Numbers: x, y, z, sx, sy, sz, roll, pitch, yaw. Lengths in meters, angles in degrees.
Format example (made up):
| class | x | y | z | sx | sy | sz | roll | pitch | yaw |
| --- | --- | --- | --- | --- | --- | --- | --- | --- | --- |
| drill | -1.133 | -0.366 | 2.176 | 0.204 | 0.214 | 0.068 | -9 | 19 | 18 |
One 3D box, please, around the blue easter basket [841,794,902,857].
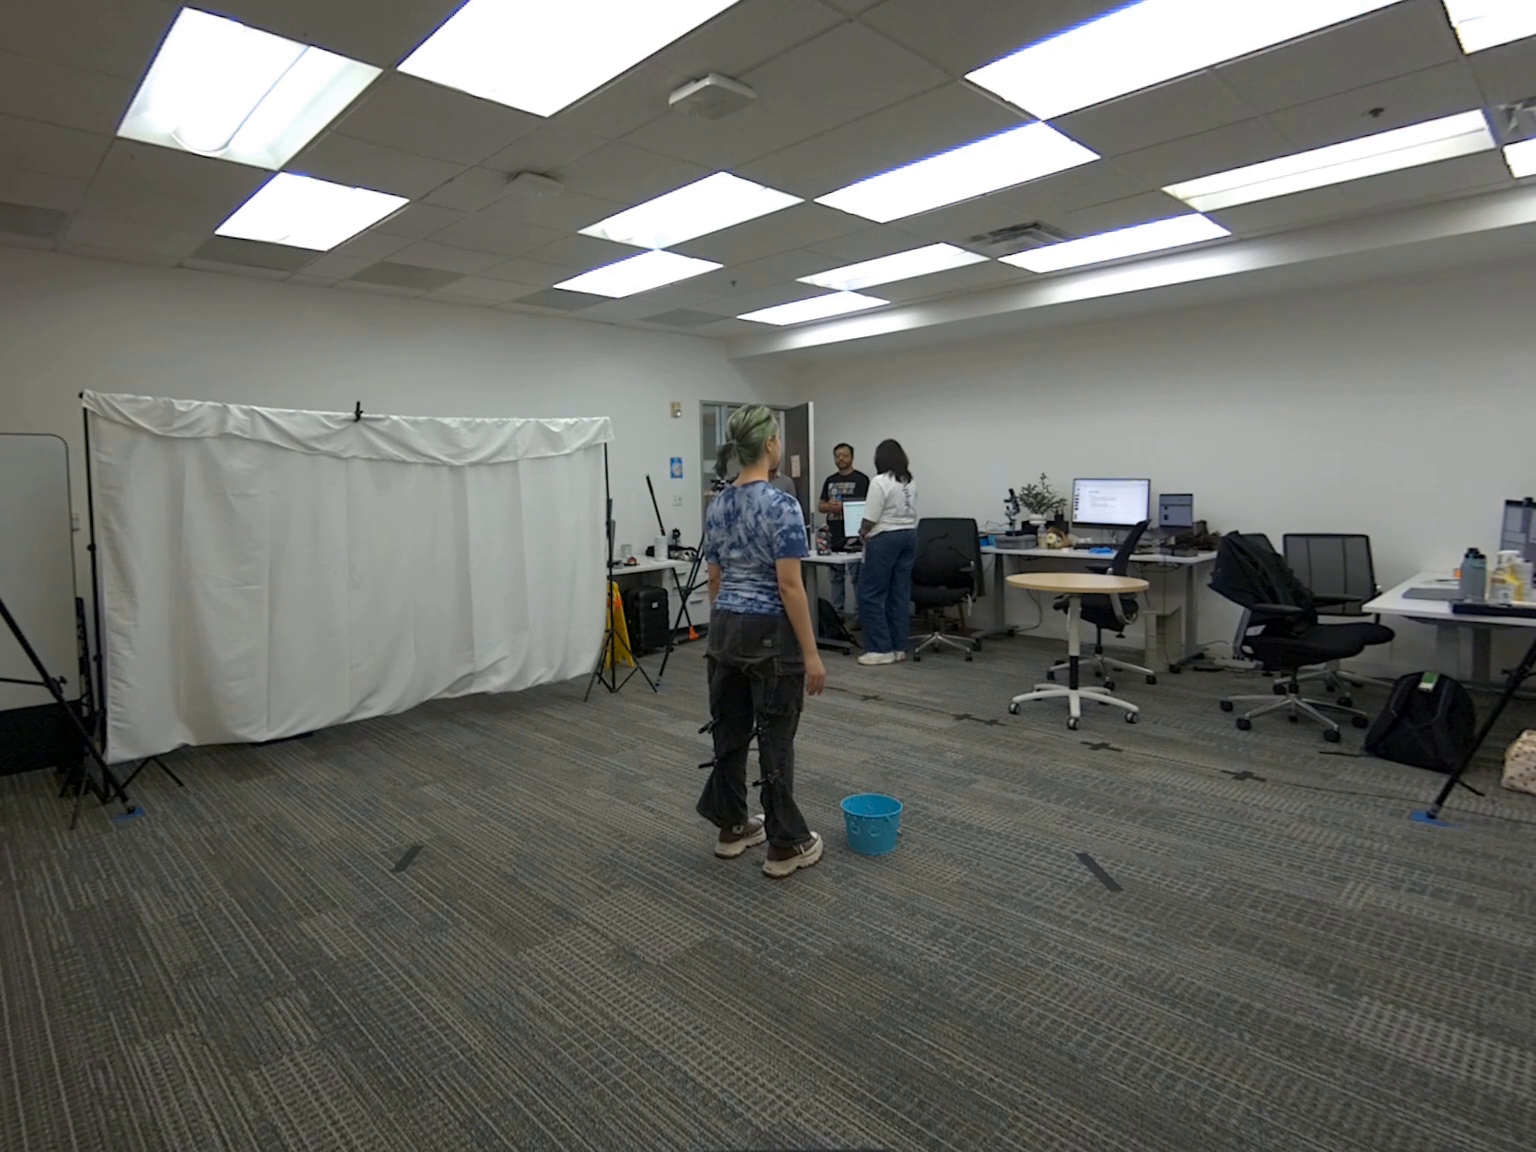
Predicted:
| class | x | y | z | sx | sy | sz | roll | pitch | yaw |
| --- | --- | --- | --- | --- | --- | --- | --- | --- | --- |
| blue easter basket | 0.404 | 0.945 | 3.252 | 0.243 | 0.155 | 0.245 | -1 | 6 | -2 |
